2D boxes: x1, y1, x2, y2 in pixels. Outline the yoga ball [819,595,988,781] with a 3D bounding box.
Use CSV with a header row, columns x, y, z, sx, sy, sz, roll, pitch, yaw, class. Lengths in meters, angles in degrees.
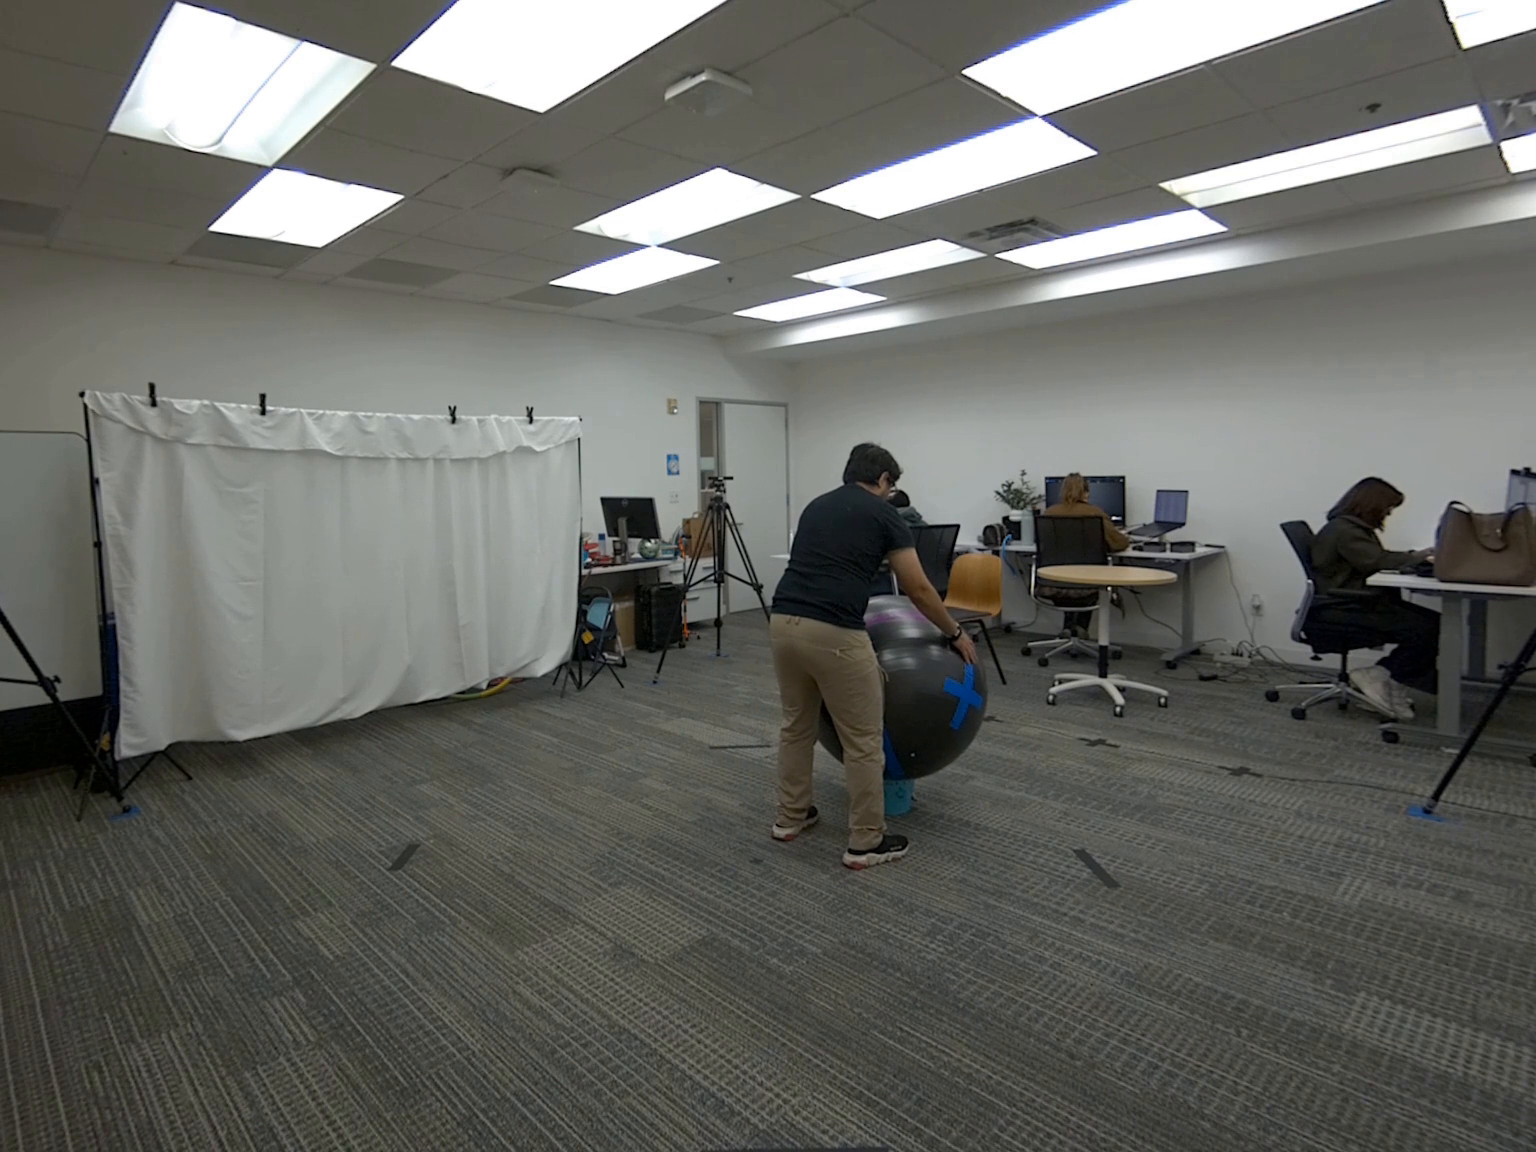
x,y,z,sx,sy,sz,roll,pitch,yaw,class
0.518,0.468,3.552,0.757,0.755,0.762,-1,5,-2,yoga ball
